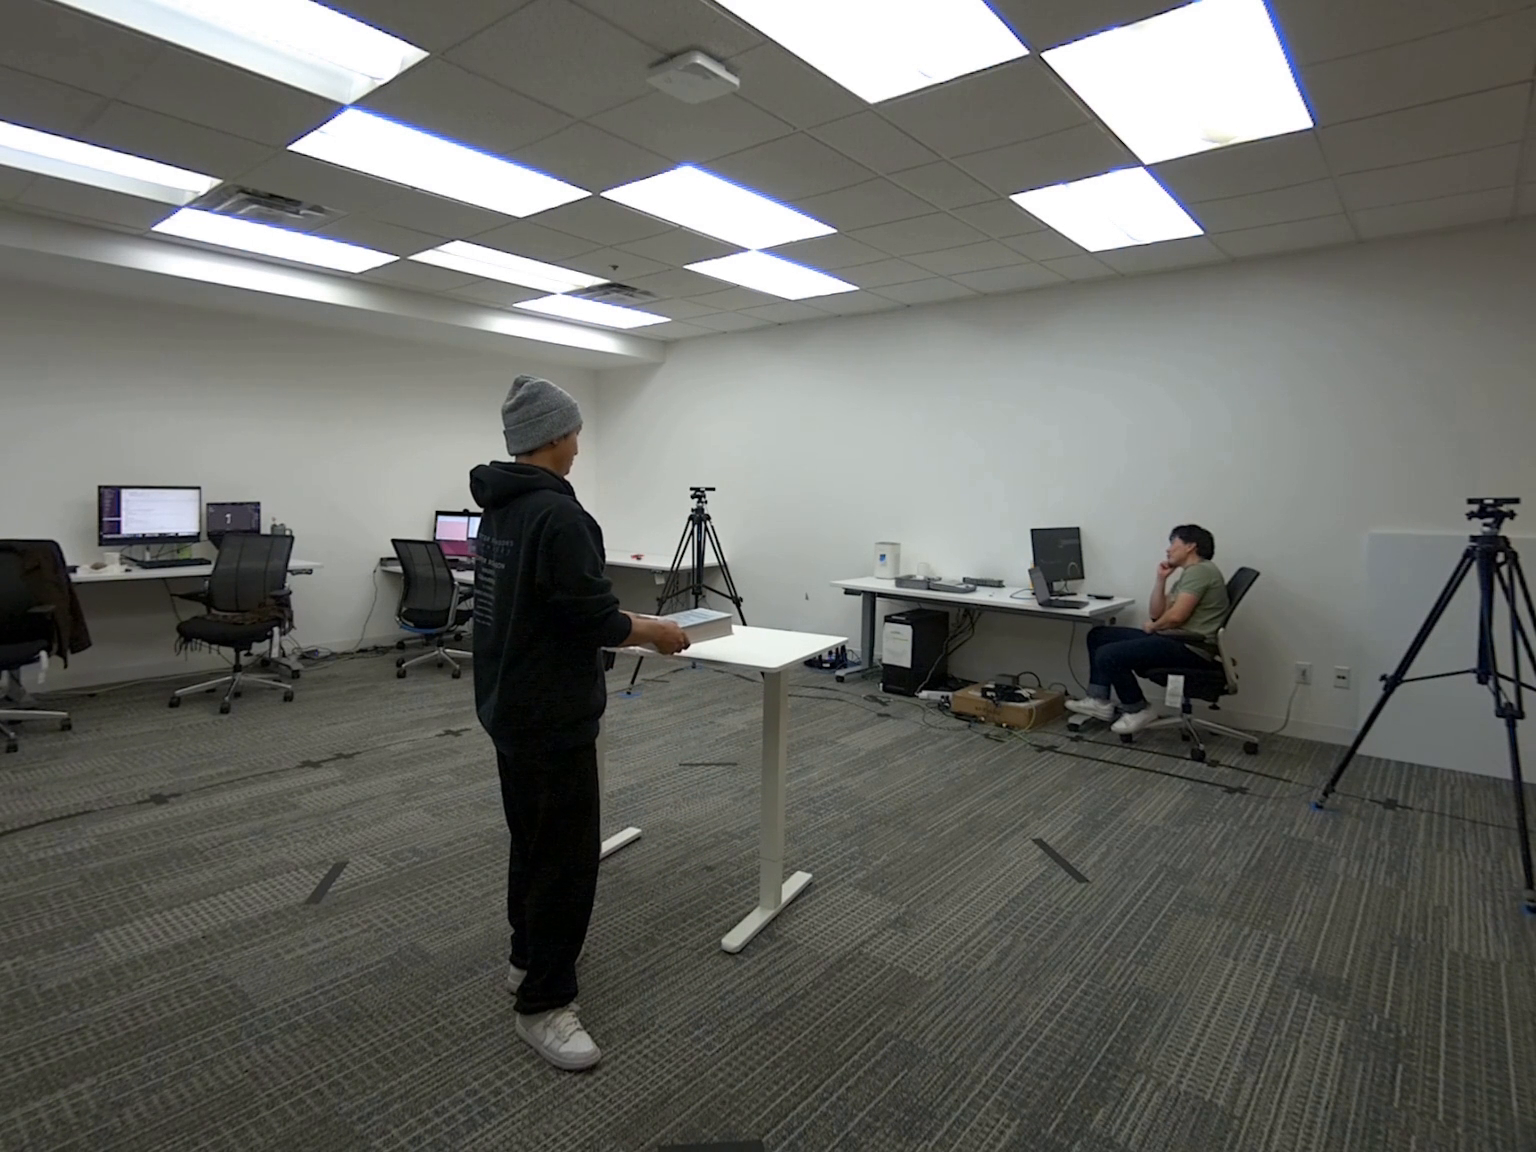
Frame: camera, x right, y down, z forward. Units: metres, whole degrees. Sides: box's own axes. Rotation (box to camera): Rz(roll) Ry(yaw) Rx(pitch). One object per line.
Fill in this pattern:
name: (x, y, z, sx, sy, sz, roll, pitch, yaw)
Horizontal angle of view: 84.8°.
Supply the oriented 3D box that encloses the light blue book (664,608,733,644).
light blue book: (-0.262, 0.154, 2.475, 0.256, 0.058, 0.196, -9, 9, -21)
